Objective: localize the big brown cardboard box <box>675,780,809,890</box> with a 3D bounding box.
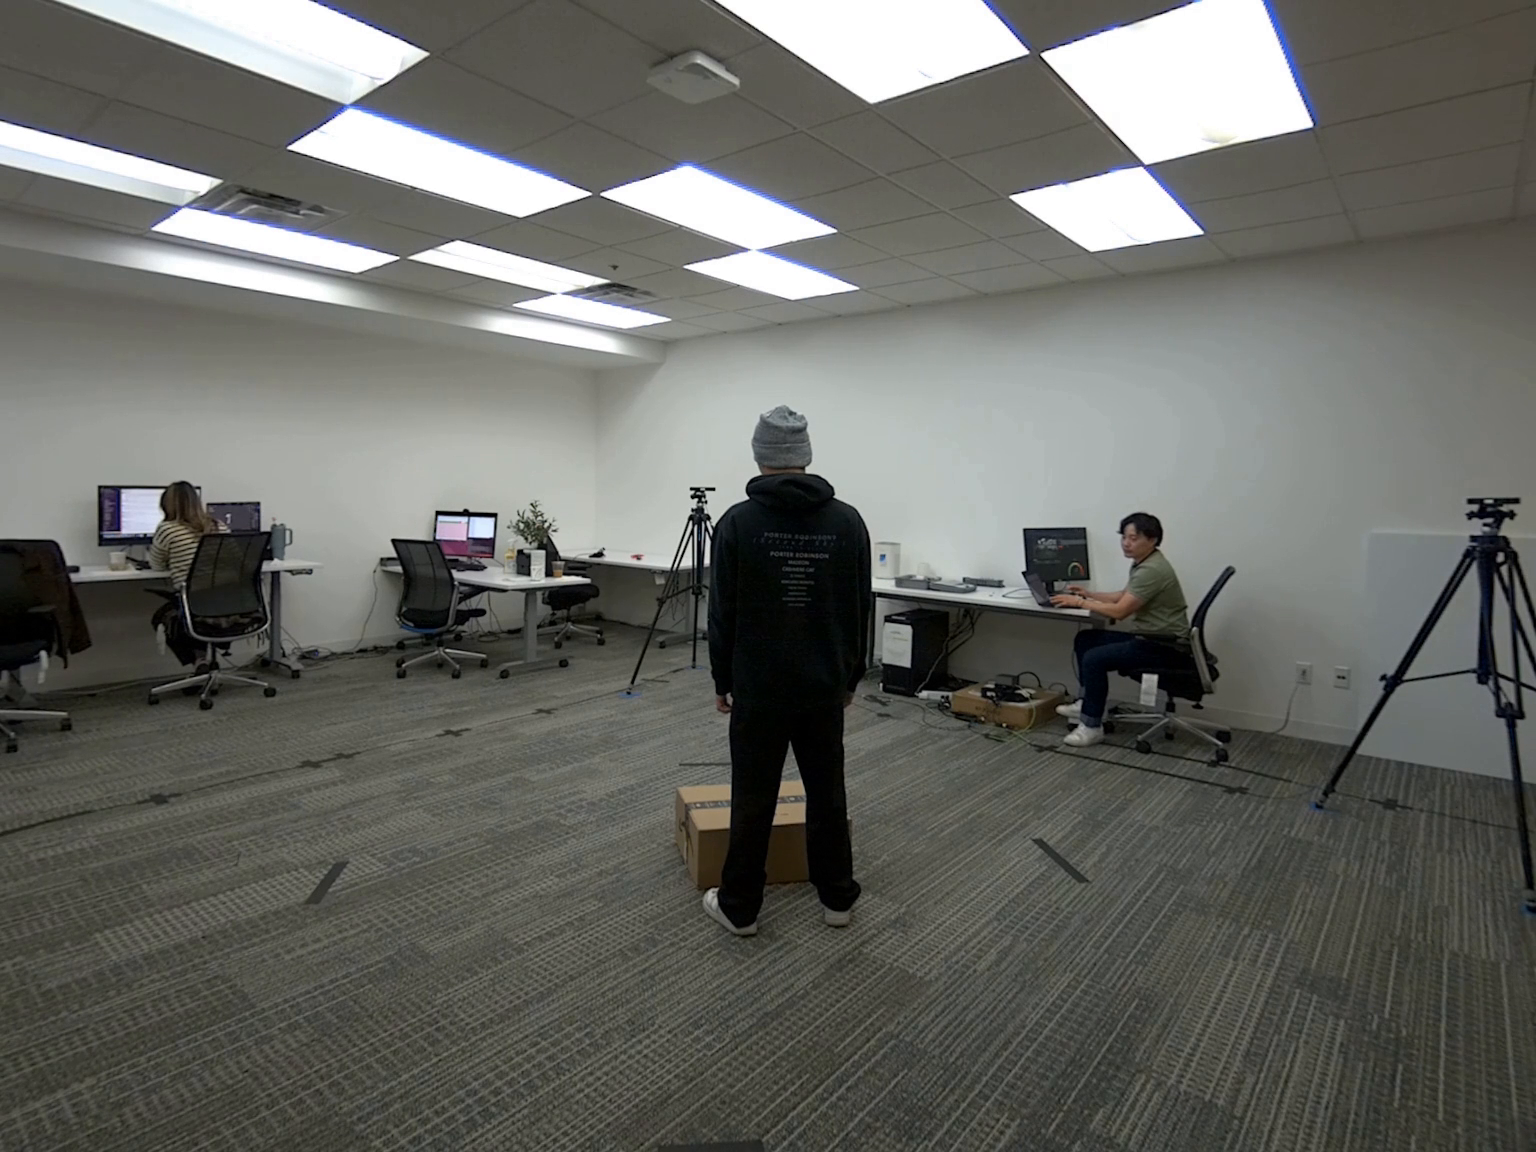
[{"bbox_3d":[-0.036,0.949,3.186,0.581,0.232,0.425,1,6,-14],"label":"big brown cardboard box"}]
